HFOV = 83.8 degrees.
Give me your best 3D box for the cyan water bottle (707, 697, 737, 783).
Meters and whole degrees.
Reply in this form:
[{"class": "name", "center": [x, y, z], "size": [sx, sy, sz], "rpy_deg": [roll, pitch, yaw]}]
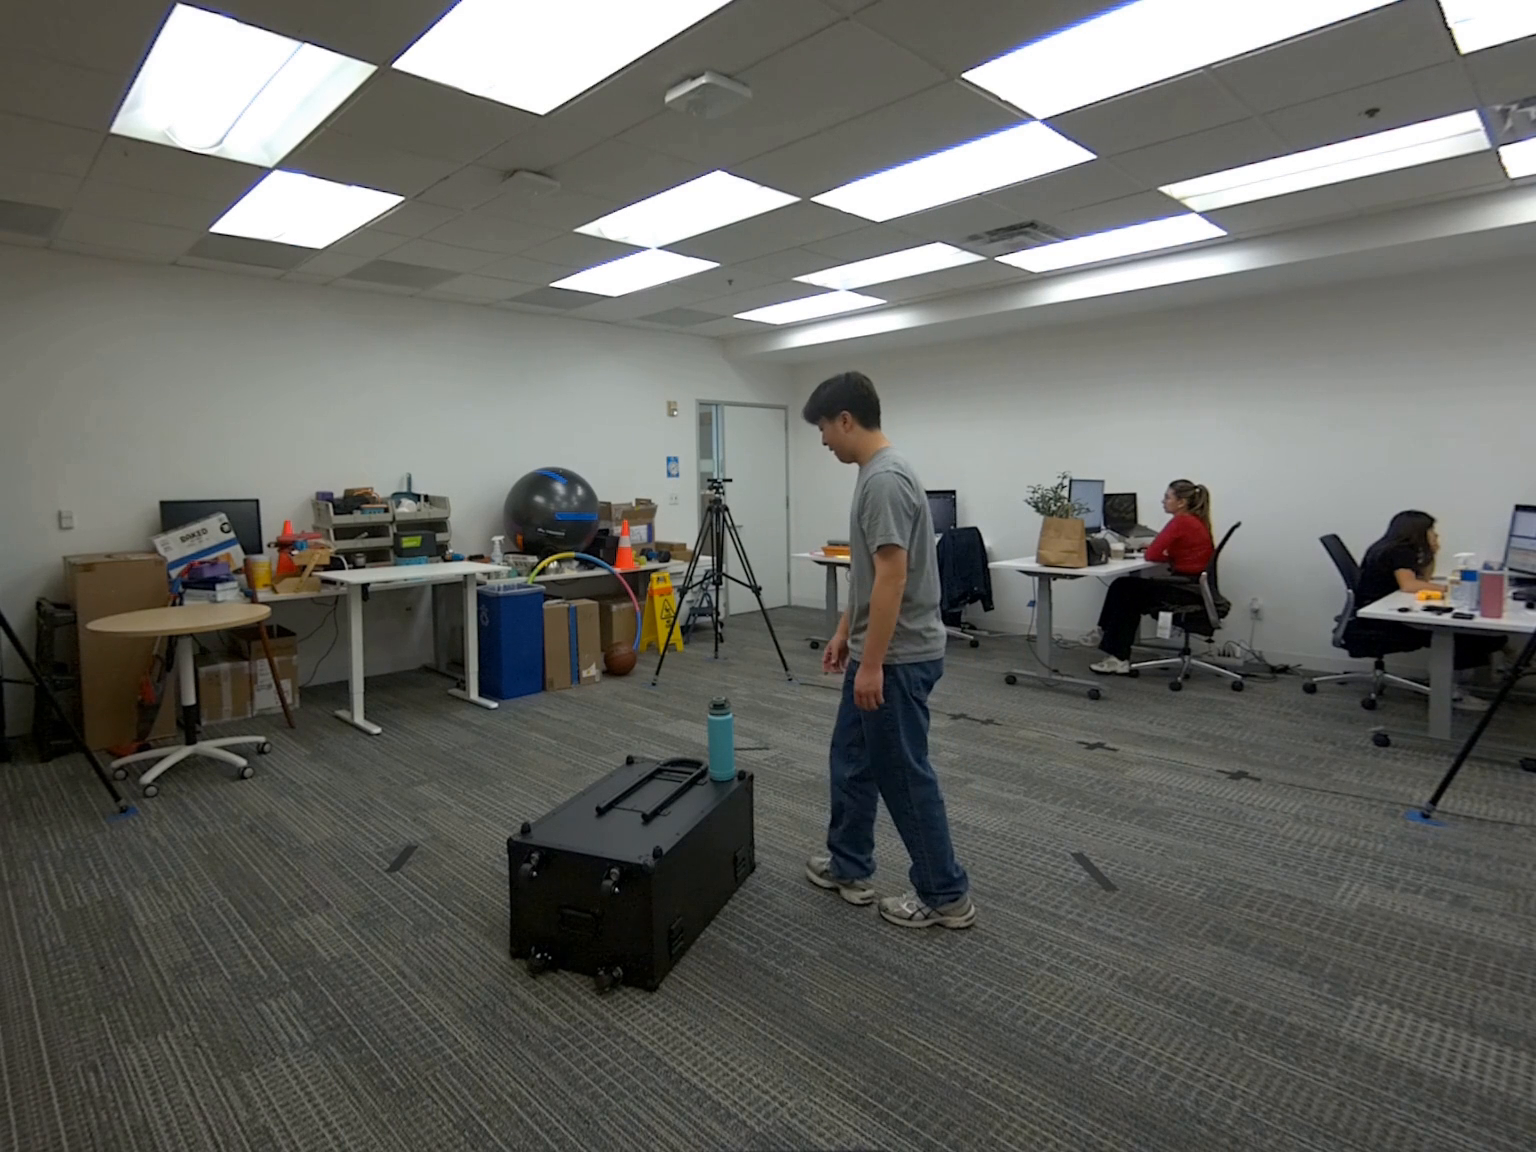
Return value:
[{"class": "cyan water bottle", "center": [-0.162, 0.559, 2.983], "size": [0.092, 0.282, 0.093], "rpy_deg": [-4, 3, -1]}]
